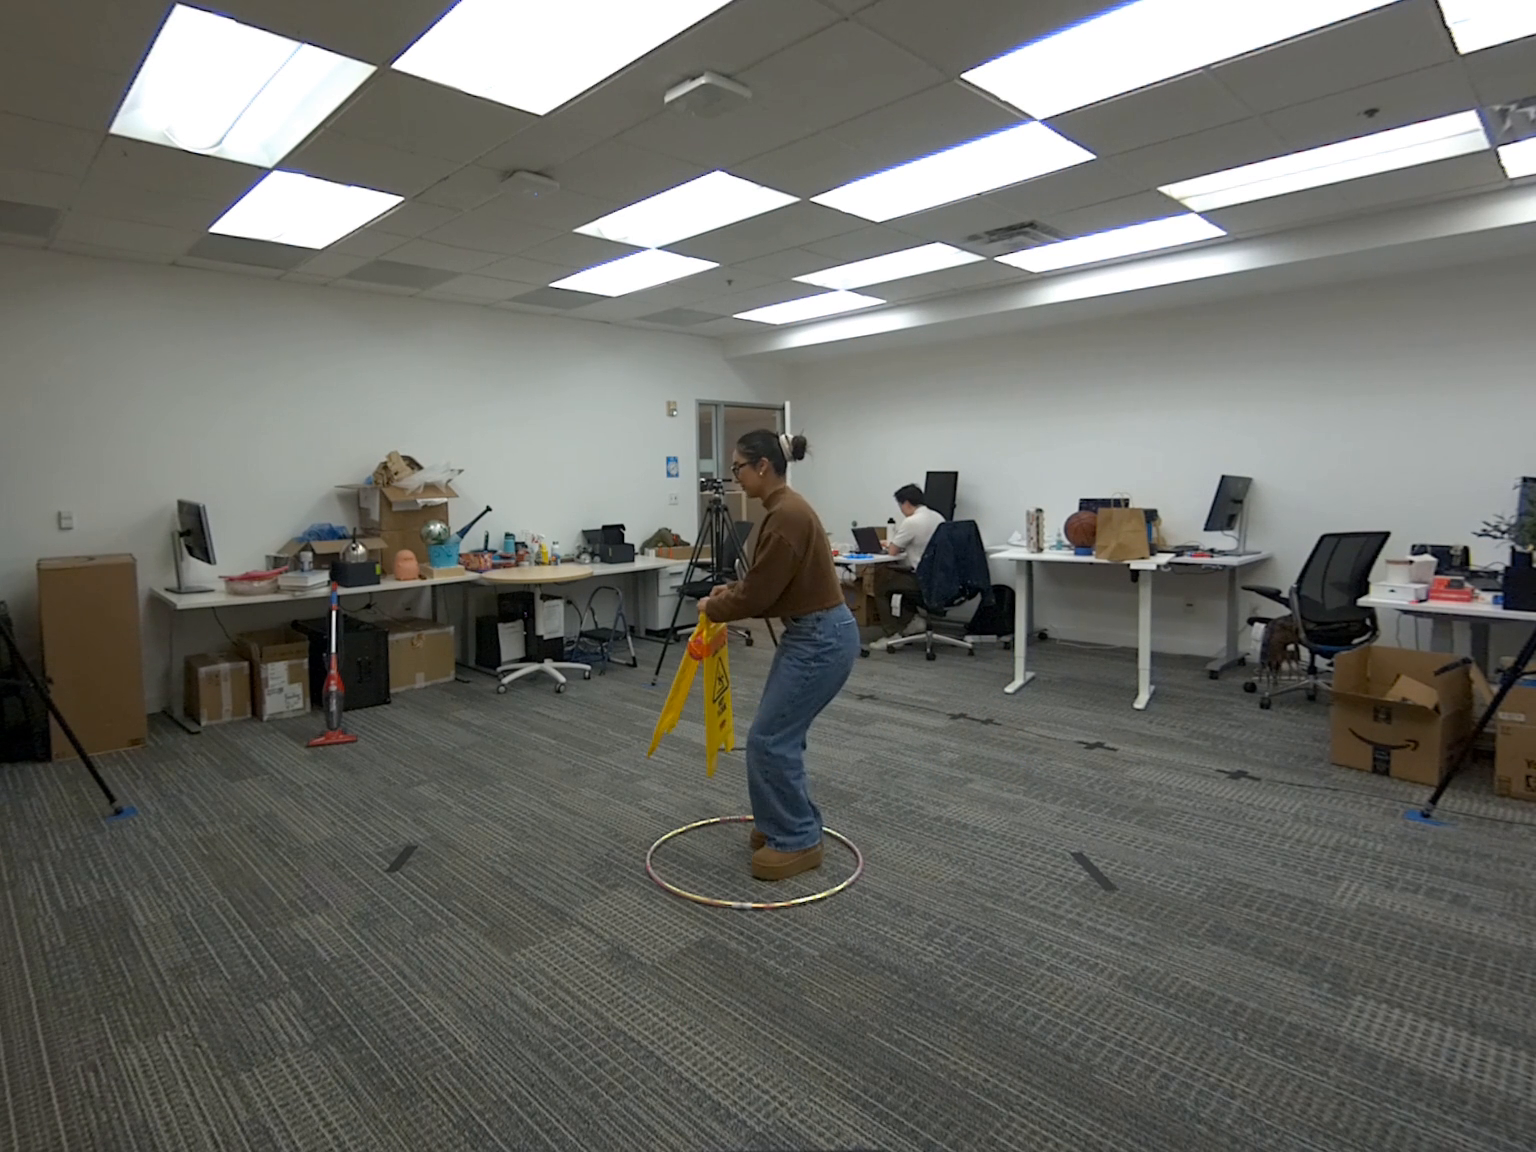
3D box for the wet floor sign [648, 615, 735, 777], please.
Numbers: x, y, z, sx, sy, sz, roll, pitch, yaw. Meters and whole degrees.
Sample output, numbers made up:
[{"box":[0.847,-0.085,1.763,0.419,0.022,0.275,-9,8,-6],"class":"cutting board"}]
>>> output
[{"box":[-0.252,0.396,3.322,0.295,0.638,0.281,12,16,15],"class":"wet floor sign"}]
